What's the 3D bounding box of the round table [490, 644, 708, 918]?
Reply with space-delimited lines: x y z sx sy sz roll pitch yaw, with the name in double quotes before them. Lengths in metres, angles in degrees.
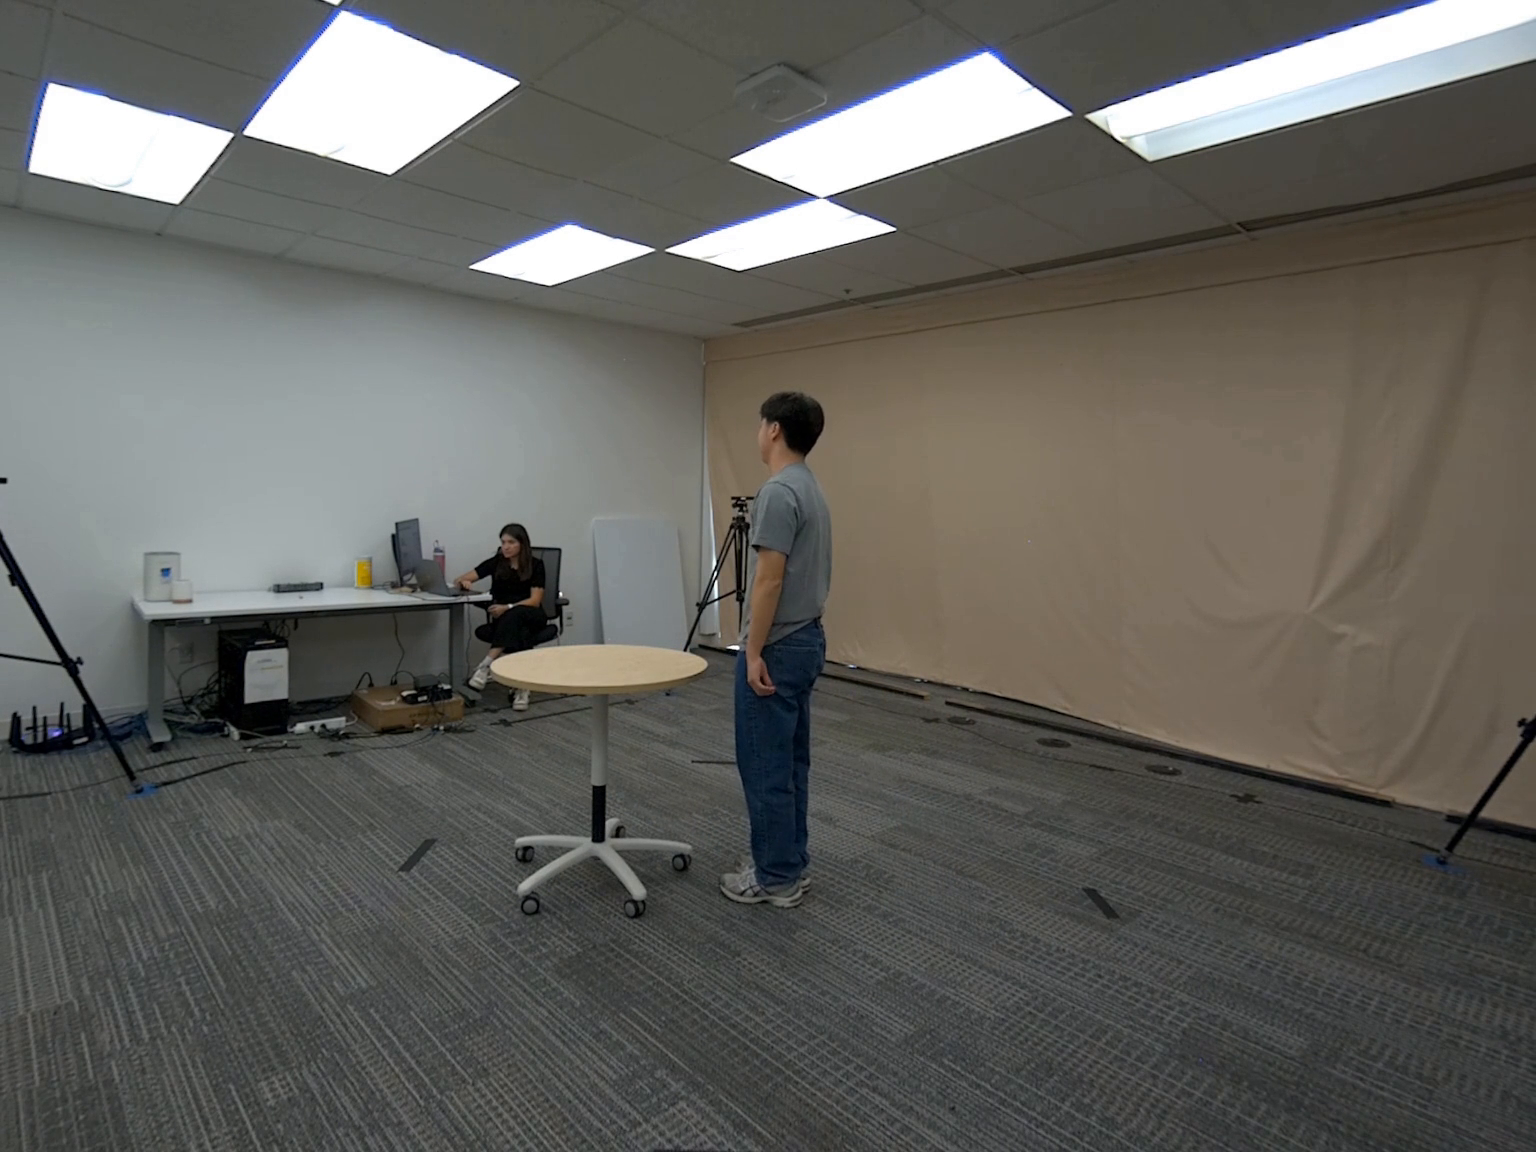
"round table" -0.611 0.704 3.046 0.763 0.792 0.766 1 4 -1
